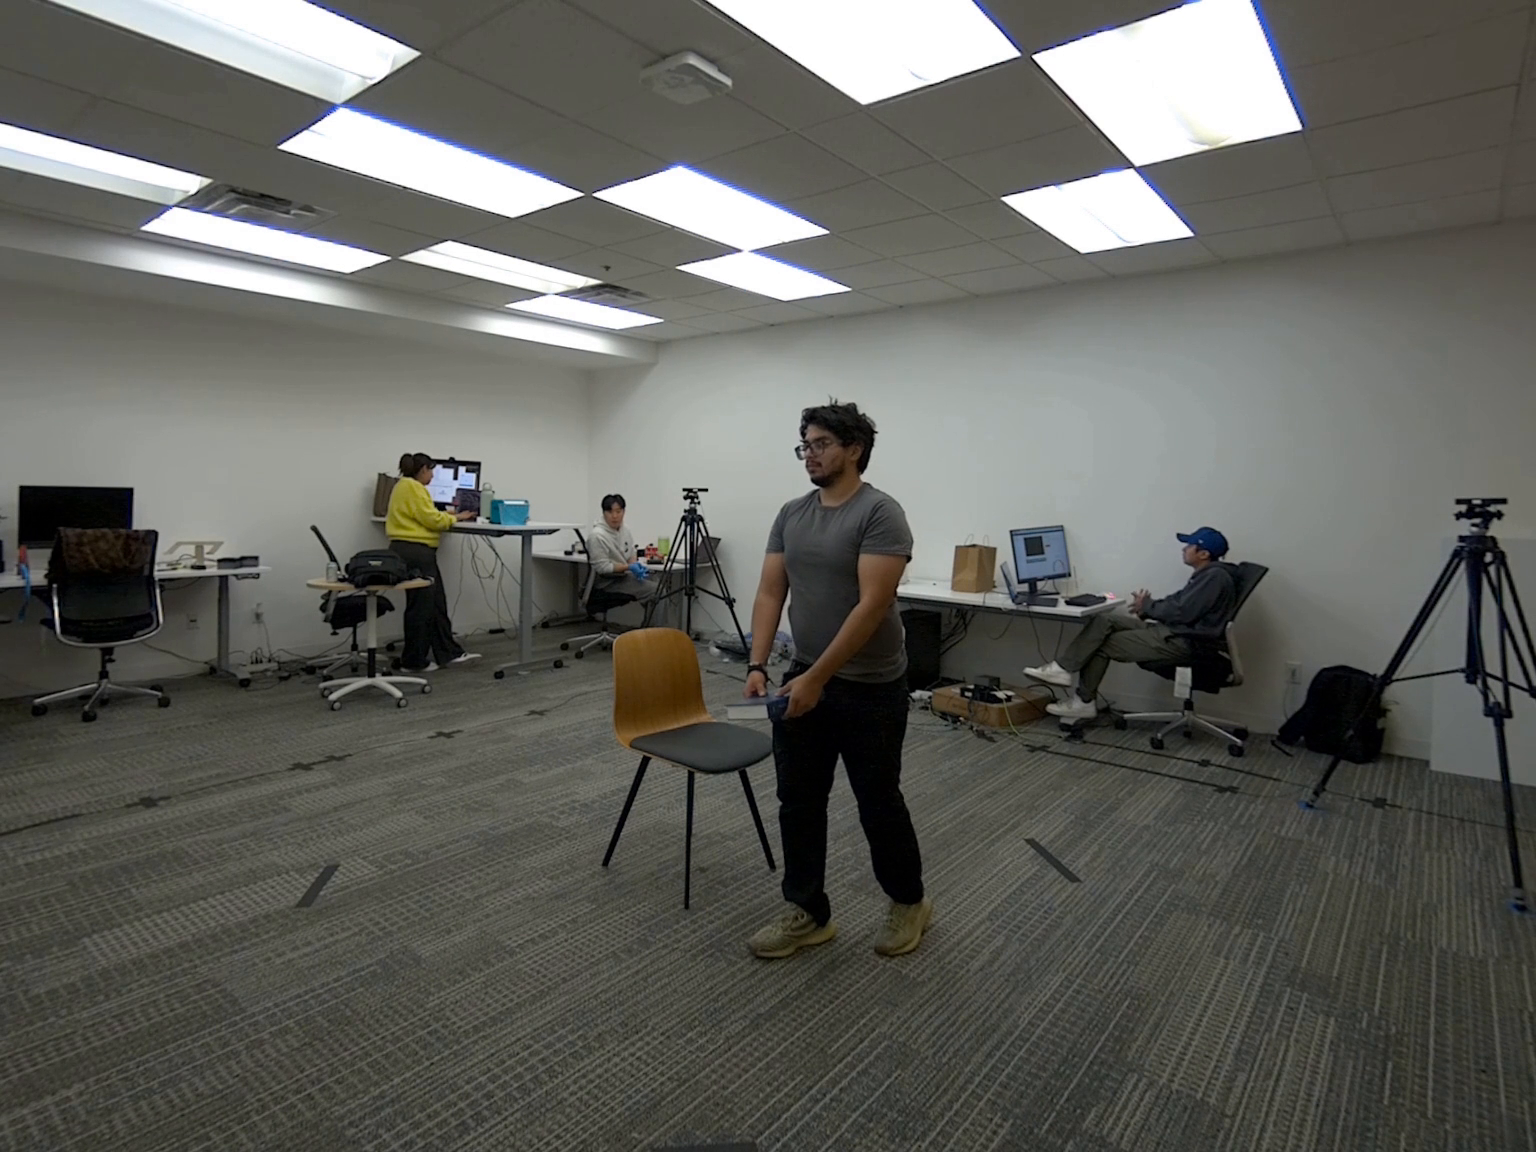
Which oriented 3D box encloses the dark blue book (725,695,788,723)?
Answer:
[{"bbox_3d":[0.010,0.355,2.393,0.238,0.045,0.167,-5,-5,-43],"label":"dark blue book"}]
